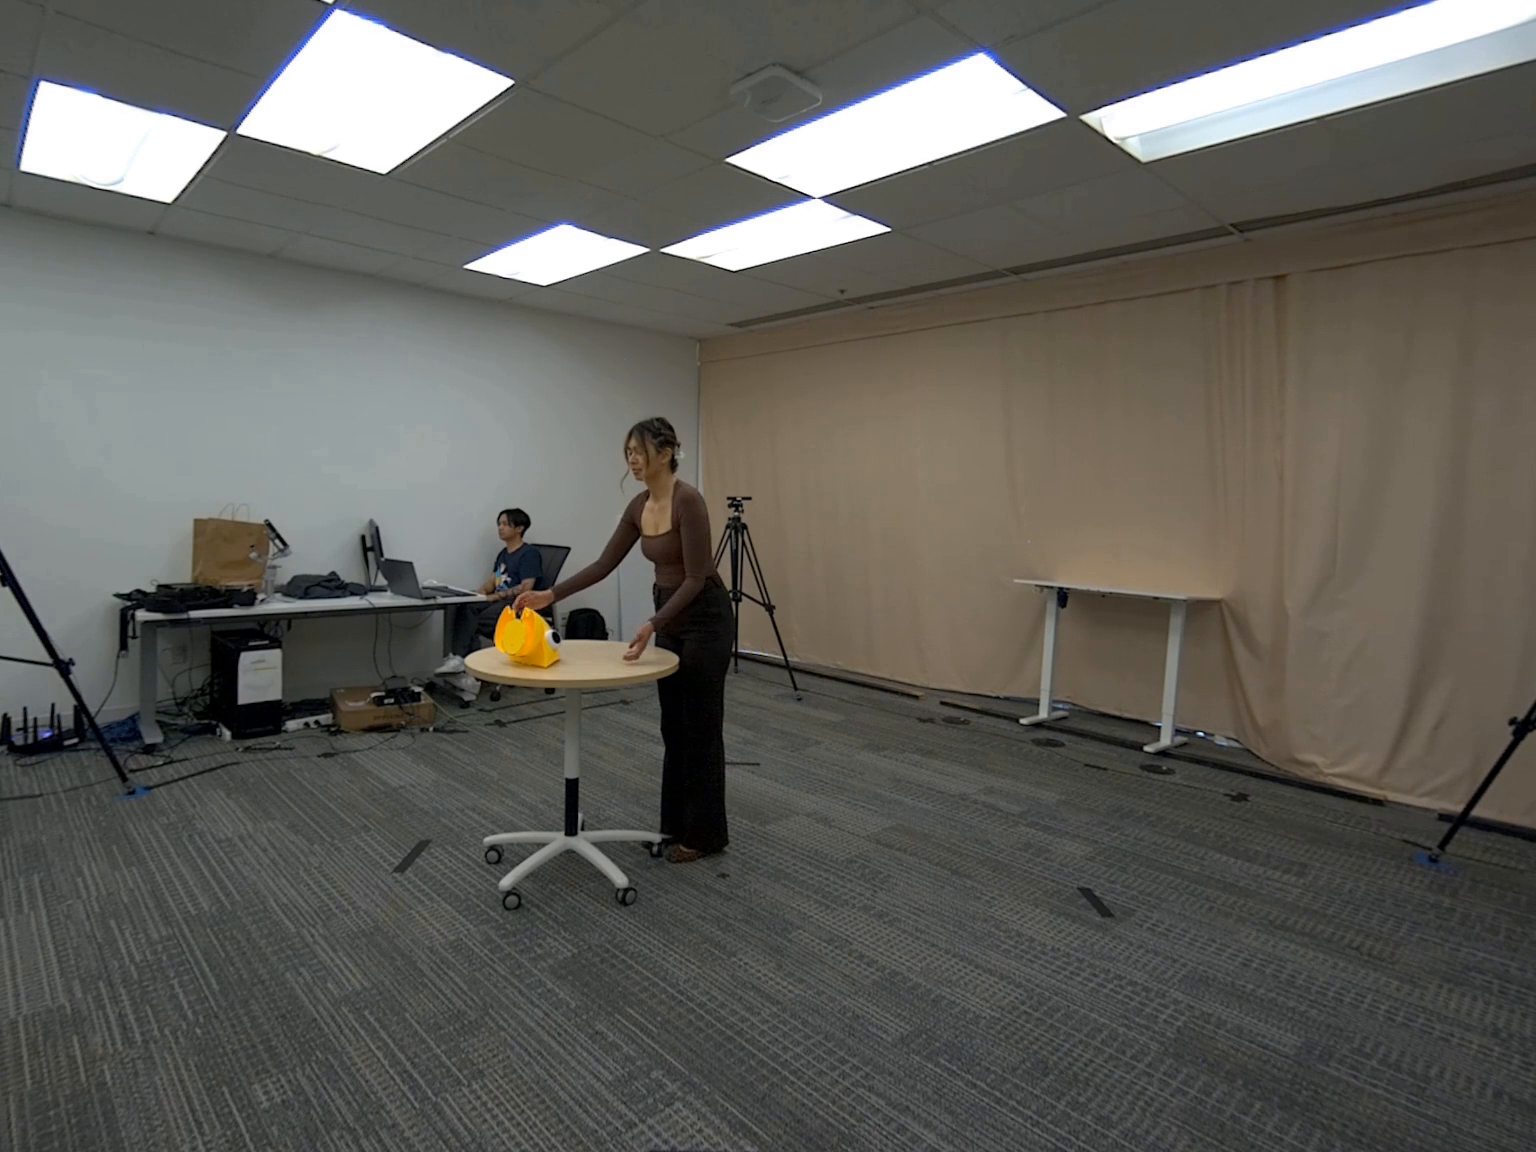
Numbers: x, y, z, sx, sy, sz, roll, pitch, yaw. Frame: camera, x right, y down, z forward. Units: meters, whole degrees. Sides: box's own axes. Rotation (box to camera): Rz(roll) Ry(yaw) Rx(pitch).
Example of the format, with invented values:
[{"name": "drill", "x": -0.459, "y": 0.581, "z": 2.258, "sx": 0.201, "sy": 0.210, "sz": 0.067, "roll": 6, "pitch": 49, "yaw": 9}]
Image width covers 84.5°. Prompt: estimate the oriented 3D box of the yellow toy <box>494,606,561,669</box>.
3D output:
[{"name": "yellow toy", "x": -0.812, "y": 0.221, "z": 2.950, "sx": 0.210, "sy": 0.194, "sz": 0.224, "roll": 5, "pitch": -8, "yaw": 36}]
